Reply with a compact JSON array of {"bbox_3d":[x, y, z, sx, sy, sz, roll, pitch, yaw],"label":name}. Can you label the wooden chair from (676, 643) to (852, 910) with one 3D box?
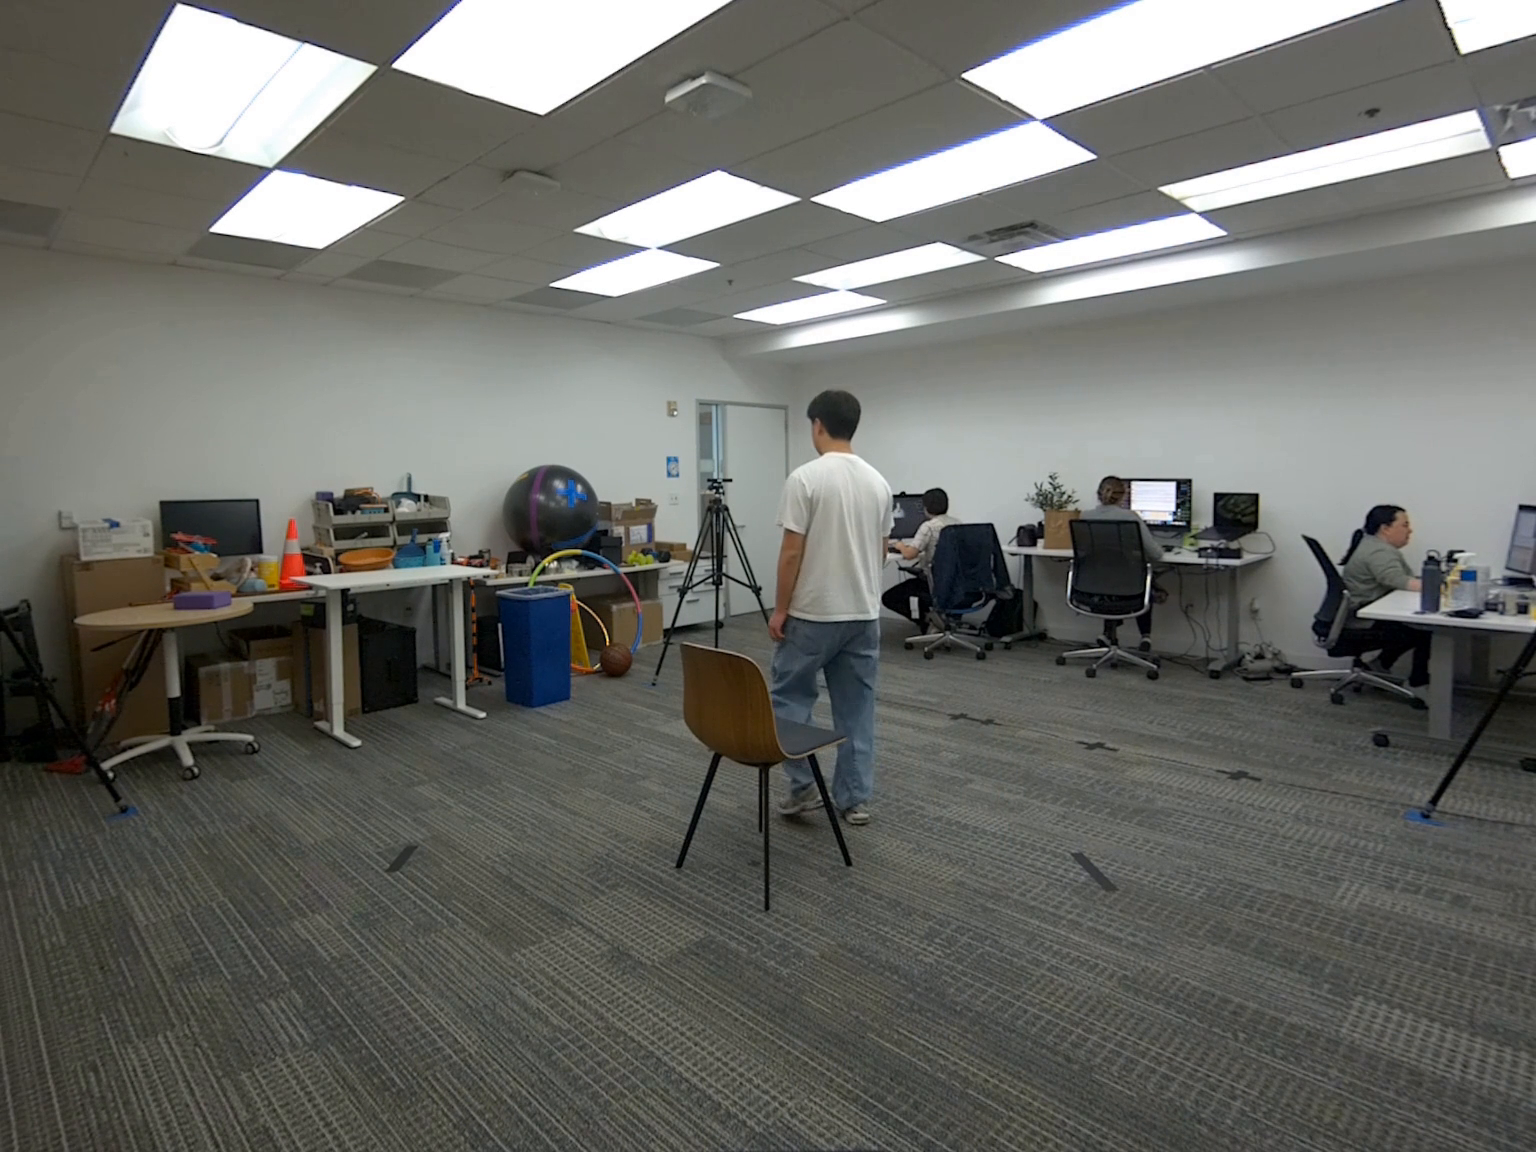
[{"bbox_3d":[-0.015,0.624,3.048,0.493,0.871,0.511,4,10,44],"label":"wooden chair"}]
